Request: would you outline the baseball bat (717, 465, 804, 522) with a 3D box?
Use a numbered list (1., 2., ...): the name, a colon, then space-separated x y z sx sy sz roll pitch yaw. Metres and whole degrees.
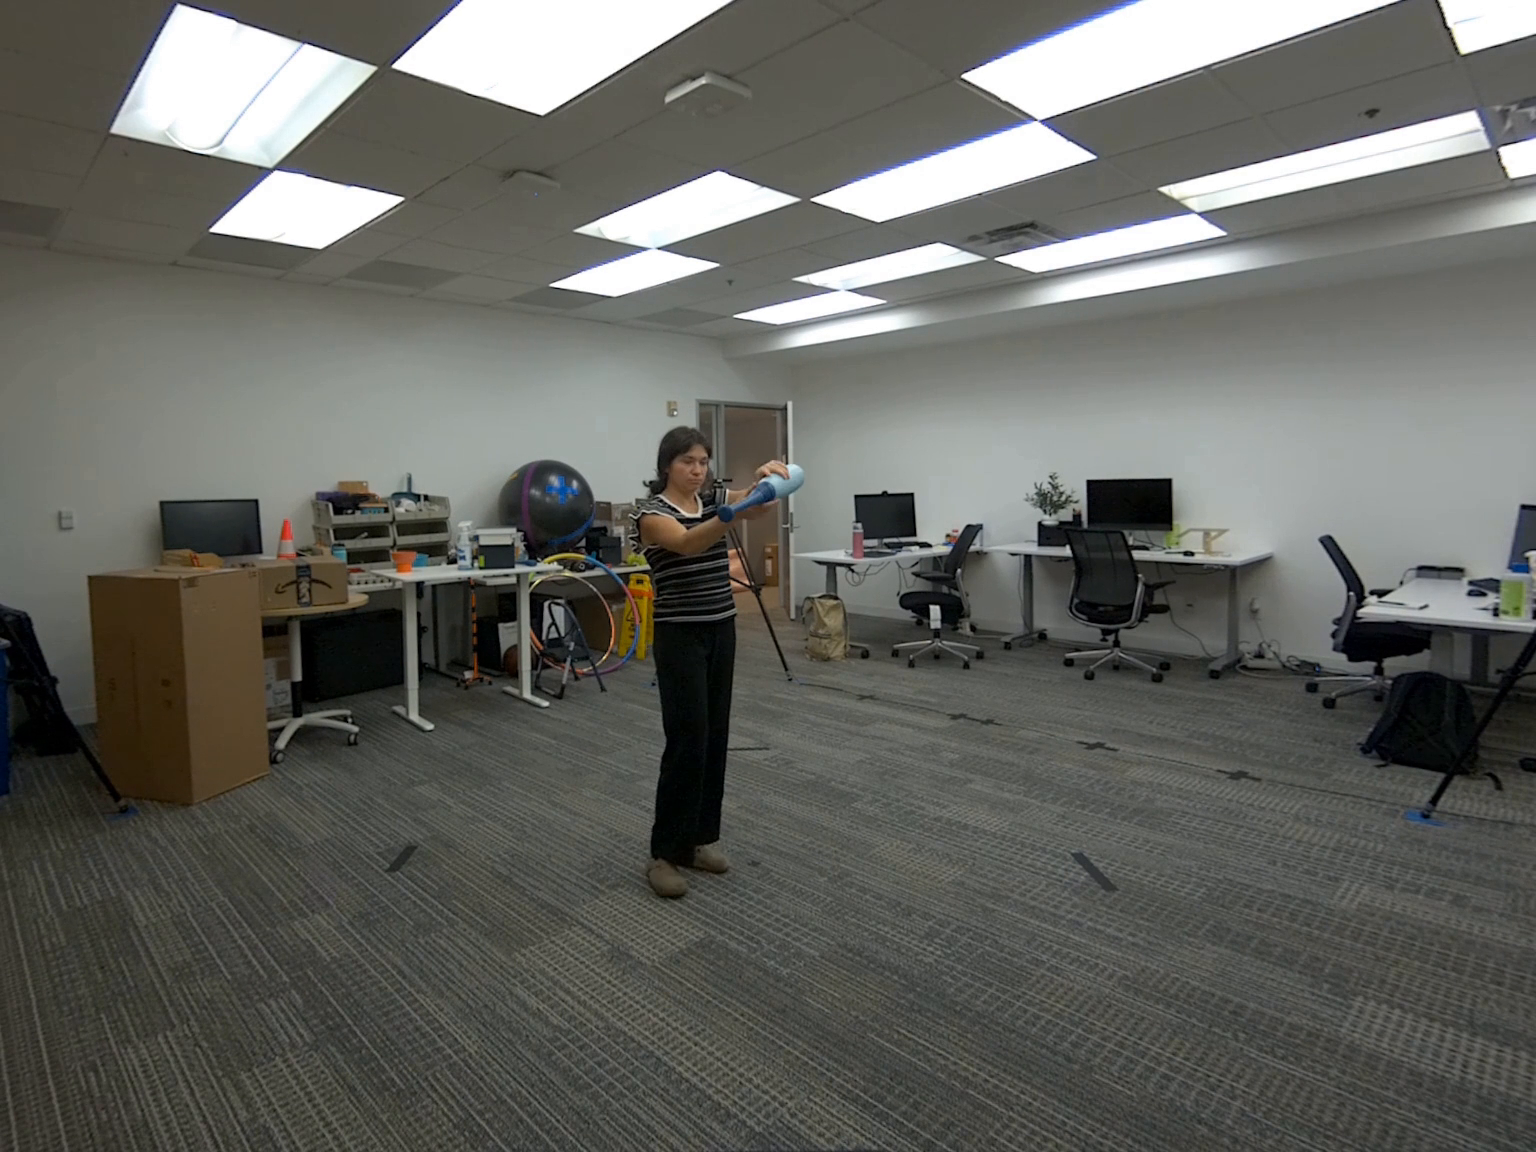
1. baseball bat: -0.013 -0.247 2.572 0.091 0.088 0.539 1 18 24
